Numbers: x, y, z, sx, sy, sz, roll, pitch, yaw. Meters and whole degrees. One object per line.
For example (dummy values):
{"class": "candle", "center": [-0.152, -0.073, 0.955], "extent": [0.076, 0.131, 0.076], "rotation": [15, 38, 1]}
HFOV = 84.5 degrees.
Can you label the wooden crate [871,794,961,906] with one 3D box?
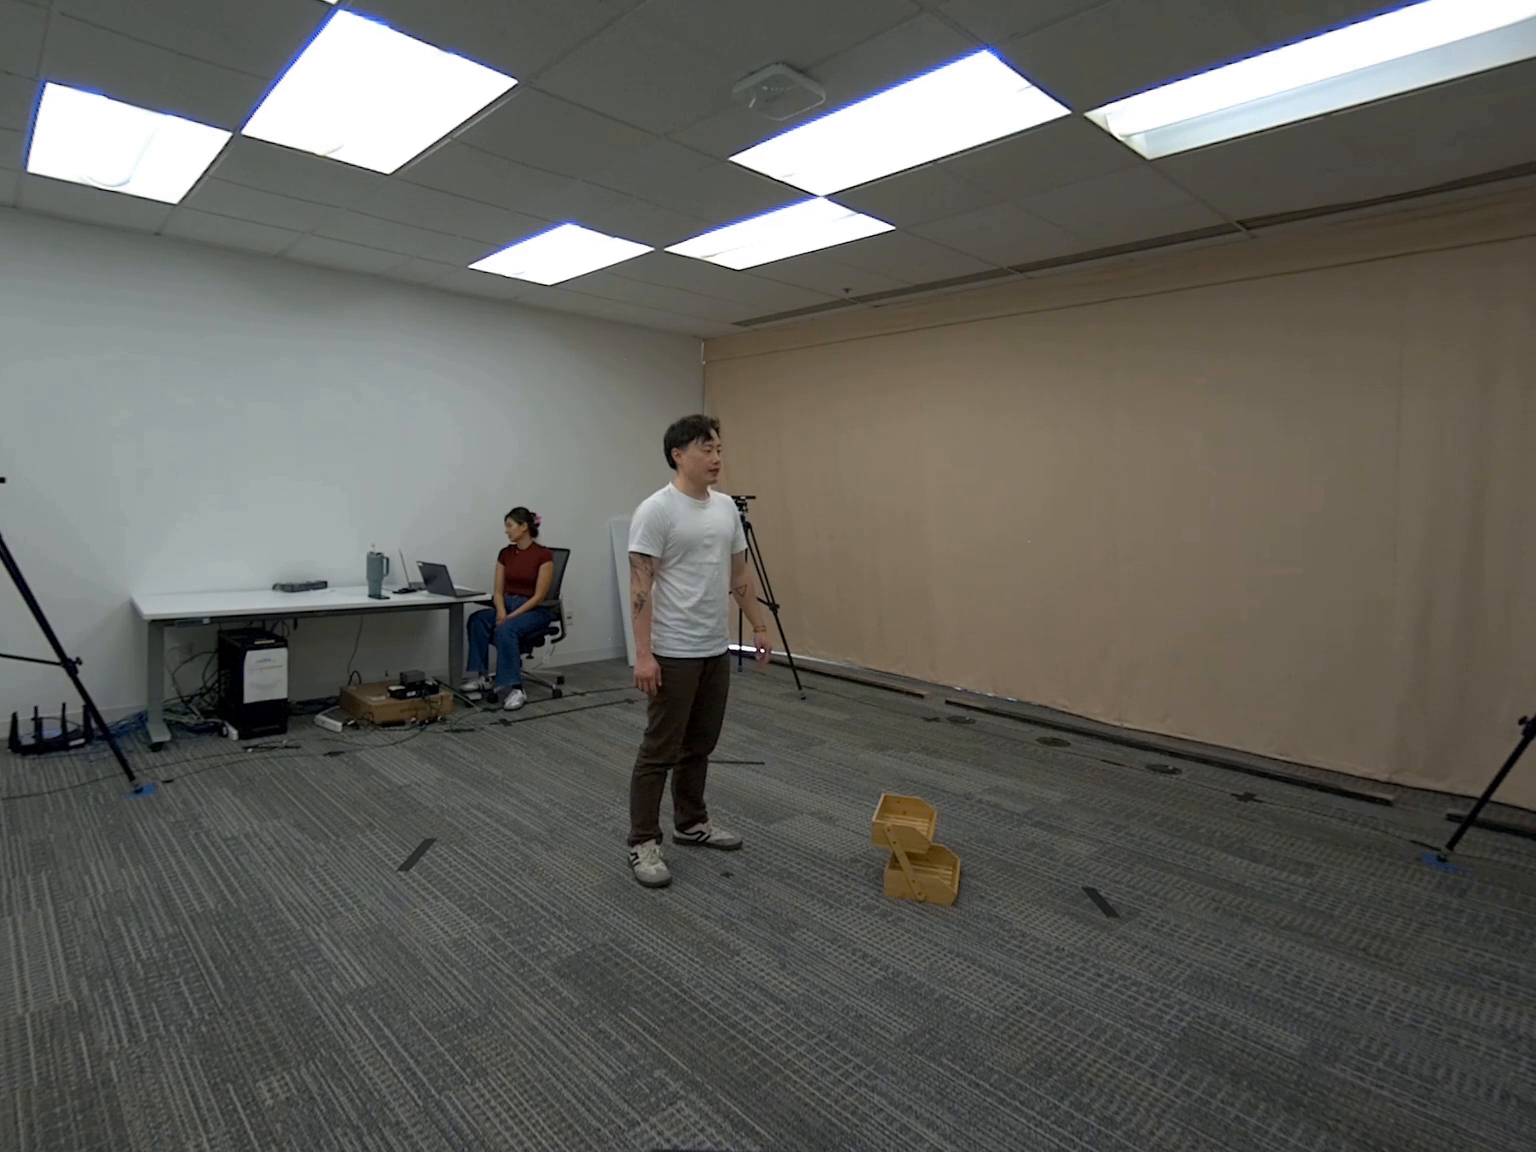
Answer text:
{"class": "wooden crate", "center": [0.541, 0.991, 3.076], "extent": [0.306, 0.272, 0.321], "rotation": [2, 4, 16]}
